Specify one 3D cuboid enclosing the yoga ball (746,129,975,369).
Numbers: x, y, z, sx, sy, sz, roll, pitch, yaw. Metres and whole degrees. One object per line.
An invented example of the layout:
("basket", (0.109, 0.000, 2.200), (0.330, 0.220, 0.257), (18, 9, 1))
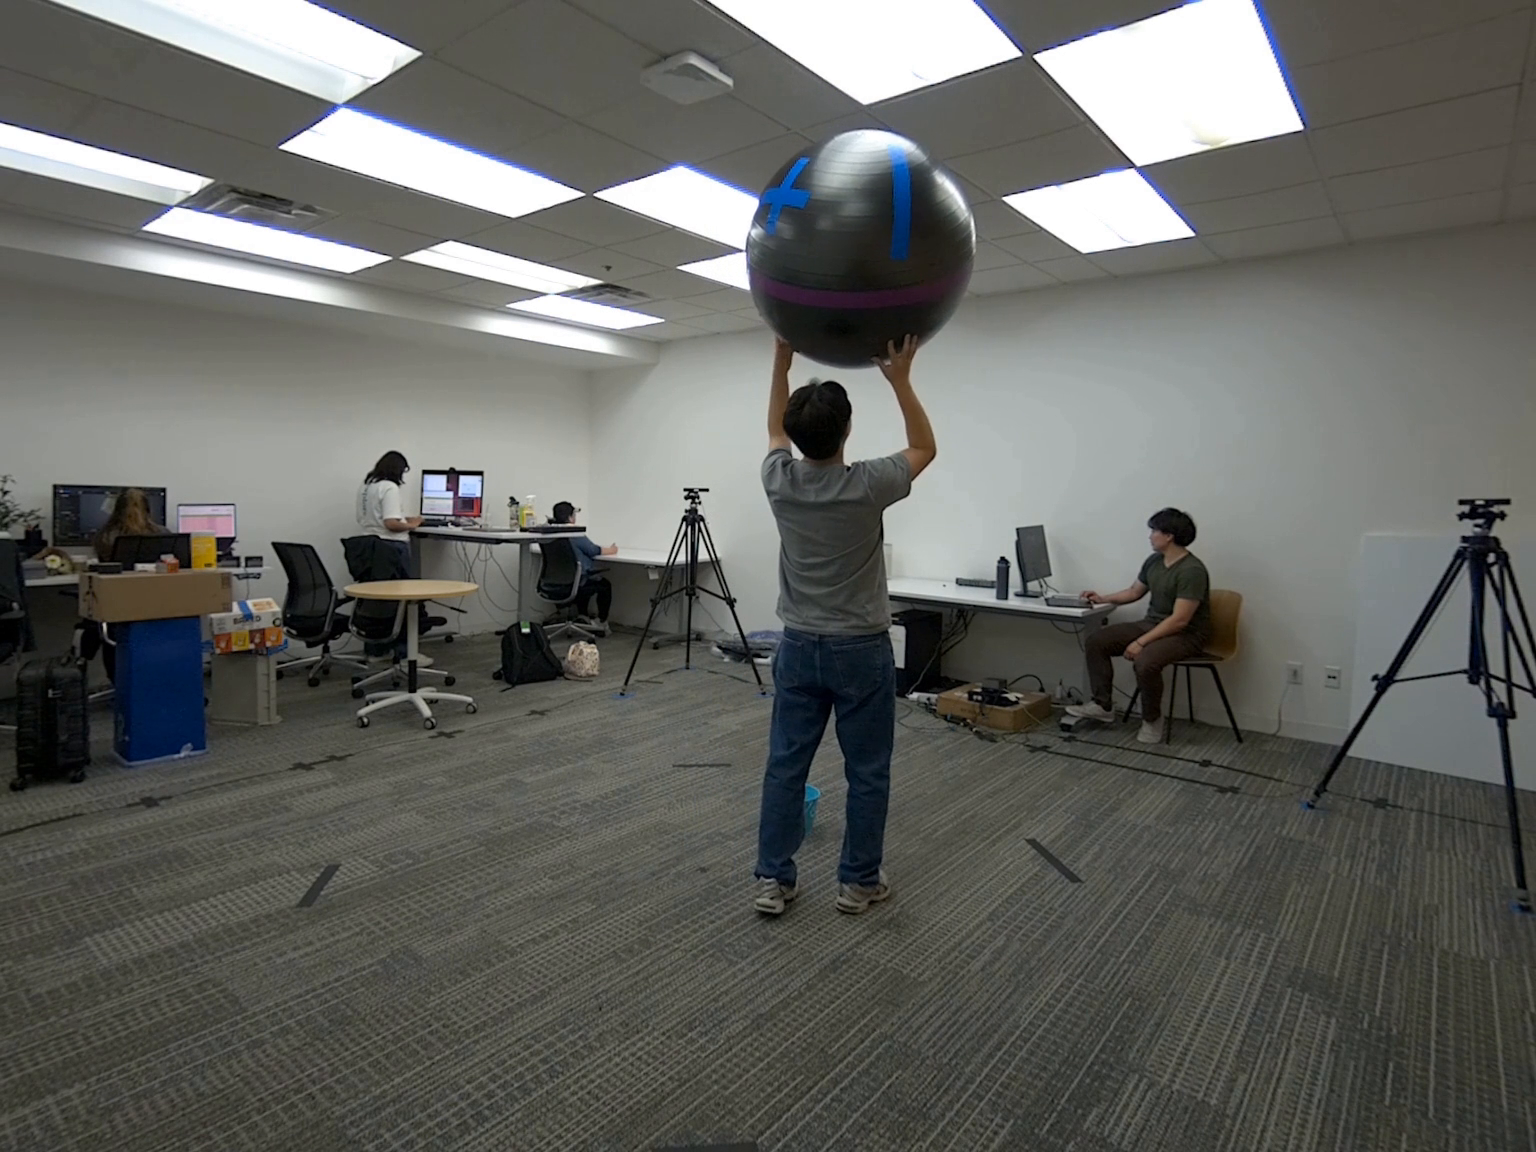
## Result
("yoga ball", (0.298, -1.092, 2.863), (0.757, 0.756, 0.761), (1, 4, -2))
